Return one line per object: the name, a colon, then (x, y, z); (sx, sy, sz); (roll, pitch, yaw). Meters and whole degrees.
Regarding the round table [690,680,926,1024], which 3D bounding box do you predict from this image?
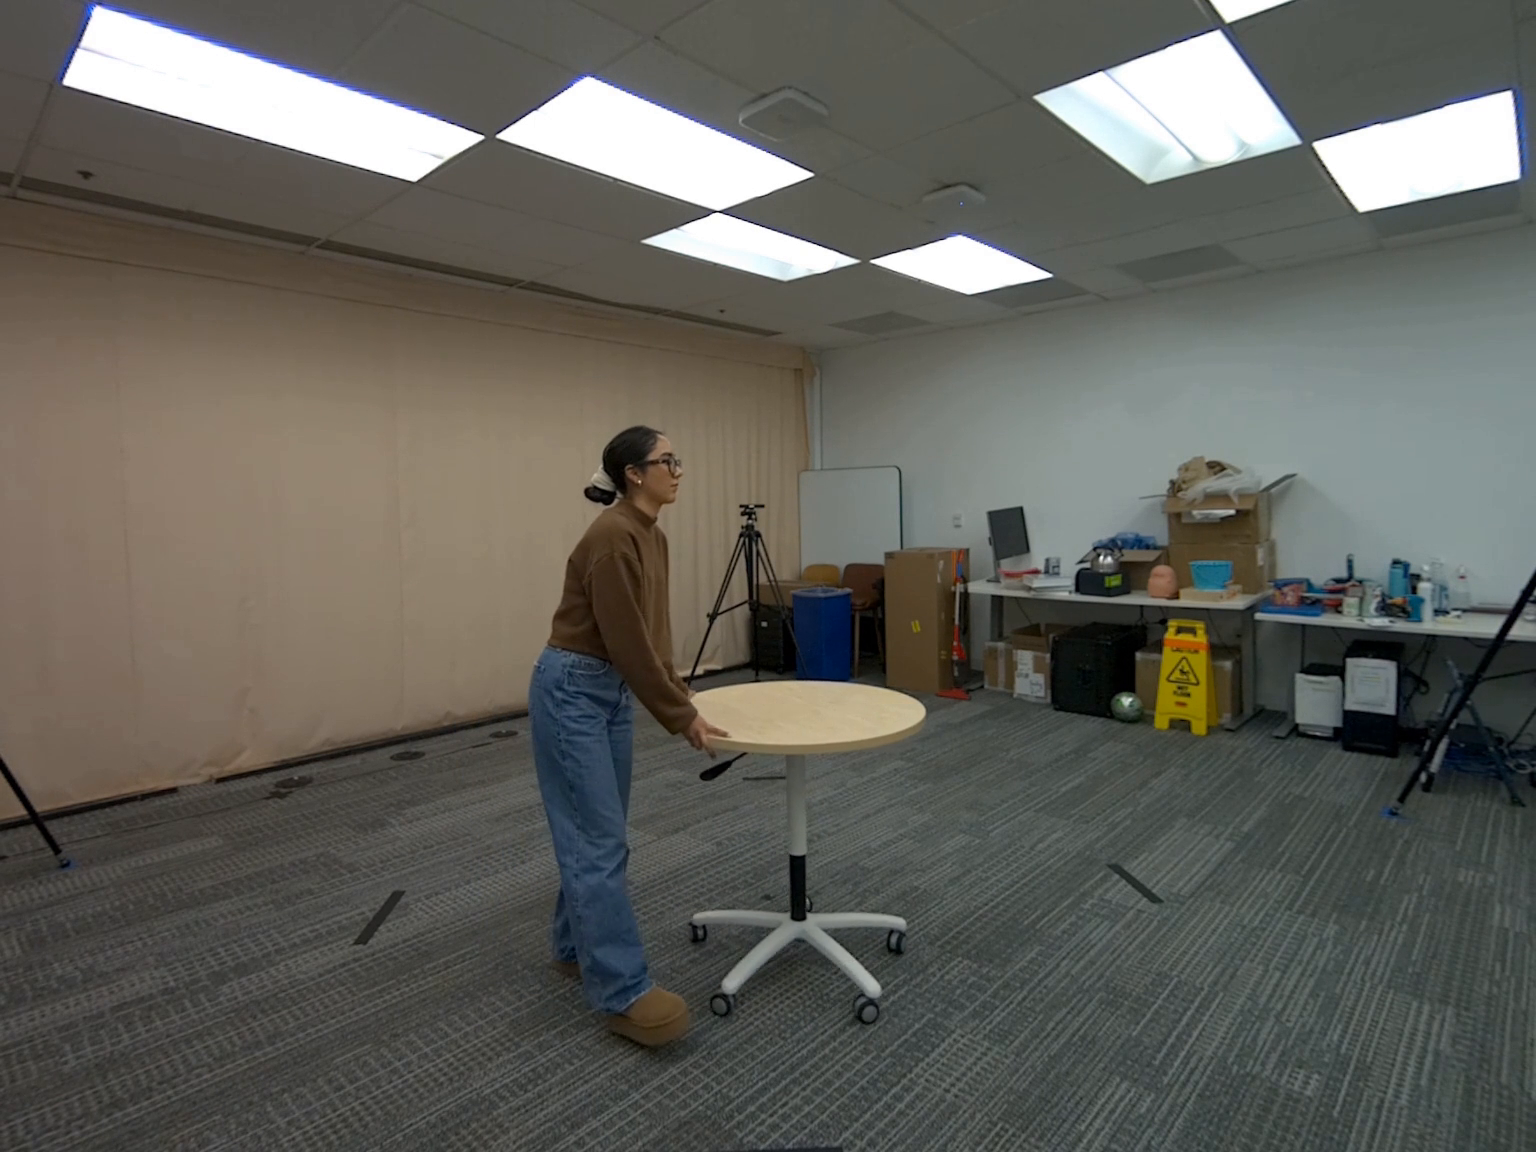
round table: (0.076, 0.786, 2.527); (0.784, 0.784, 0.788); (-2, 4, -2)
